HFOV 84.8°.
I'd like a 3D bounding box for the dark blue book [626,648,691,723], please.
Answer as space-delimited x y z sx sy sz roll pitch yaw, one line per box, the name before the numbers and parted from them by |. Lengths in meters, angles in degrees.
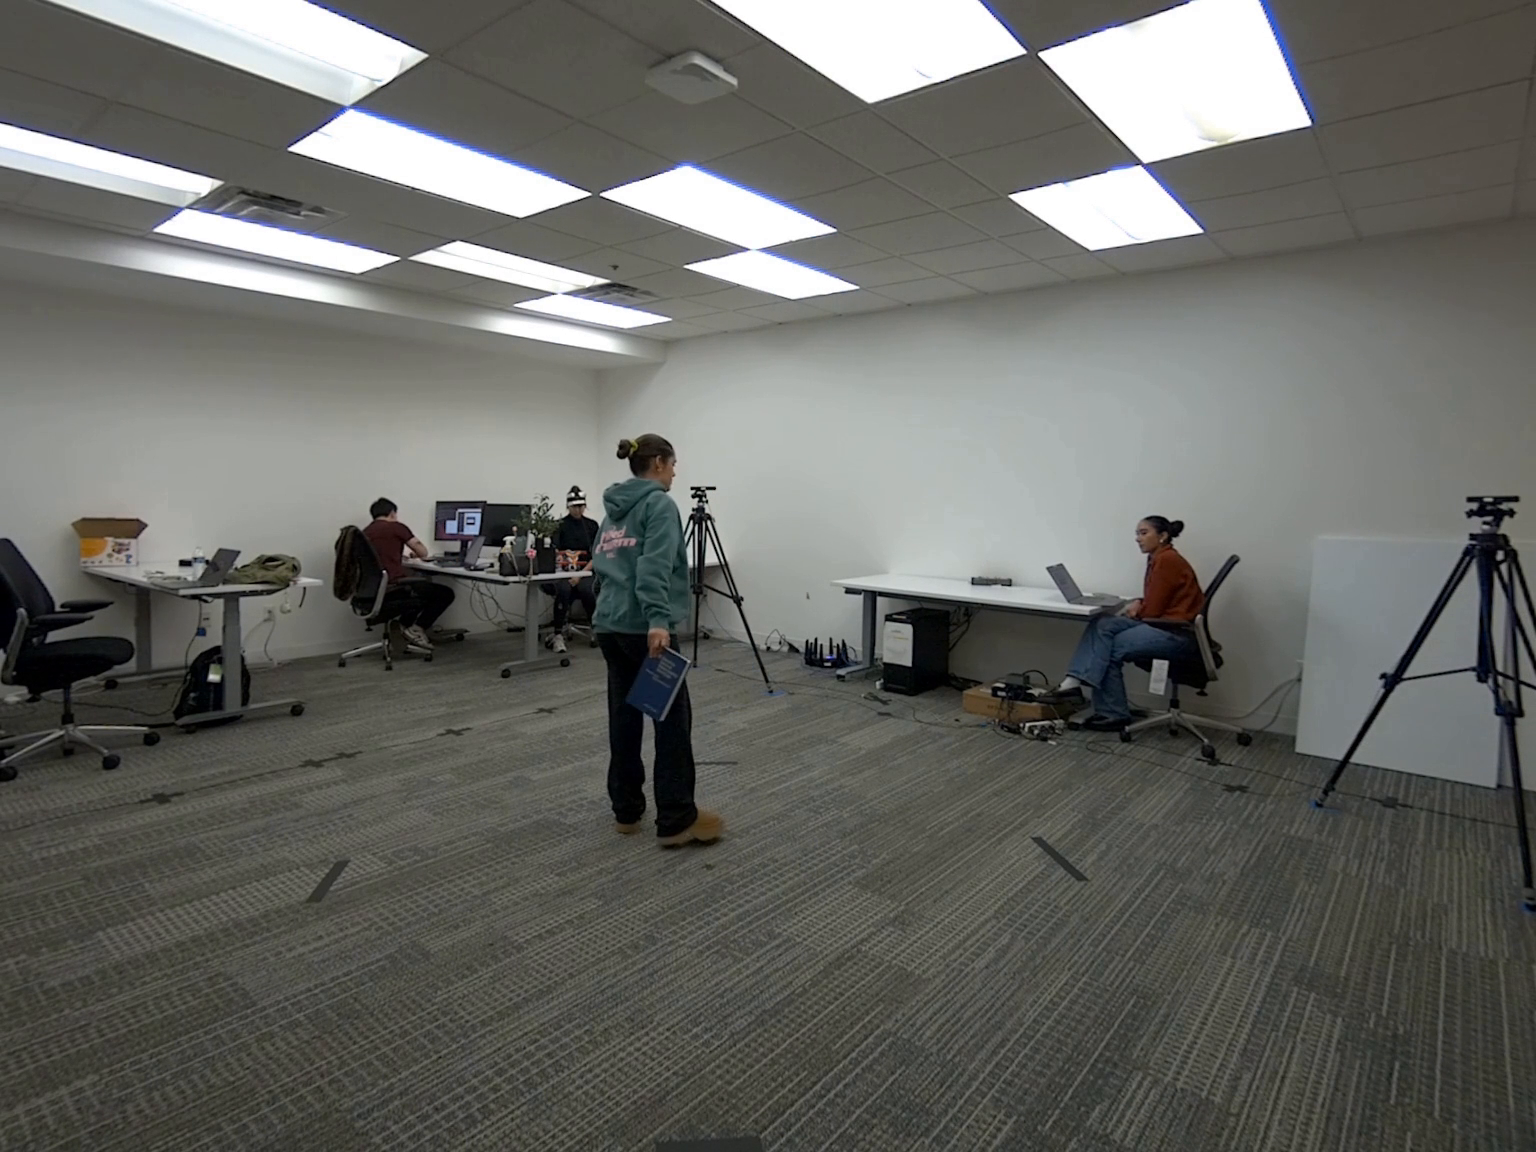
dark blue book | -0.396 0.380 3.103 0.169 0.245 0.044 25 0 26
